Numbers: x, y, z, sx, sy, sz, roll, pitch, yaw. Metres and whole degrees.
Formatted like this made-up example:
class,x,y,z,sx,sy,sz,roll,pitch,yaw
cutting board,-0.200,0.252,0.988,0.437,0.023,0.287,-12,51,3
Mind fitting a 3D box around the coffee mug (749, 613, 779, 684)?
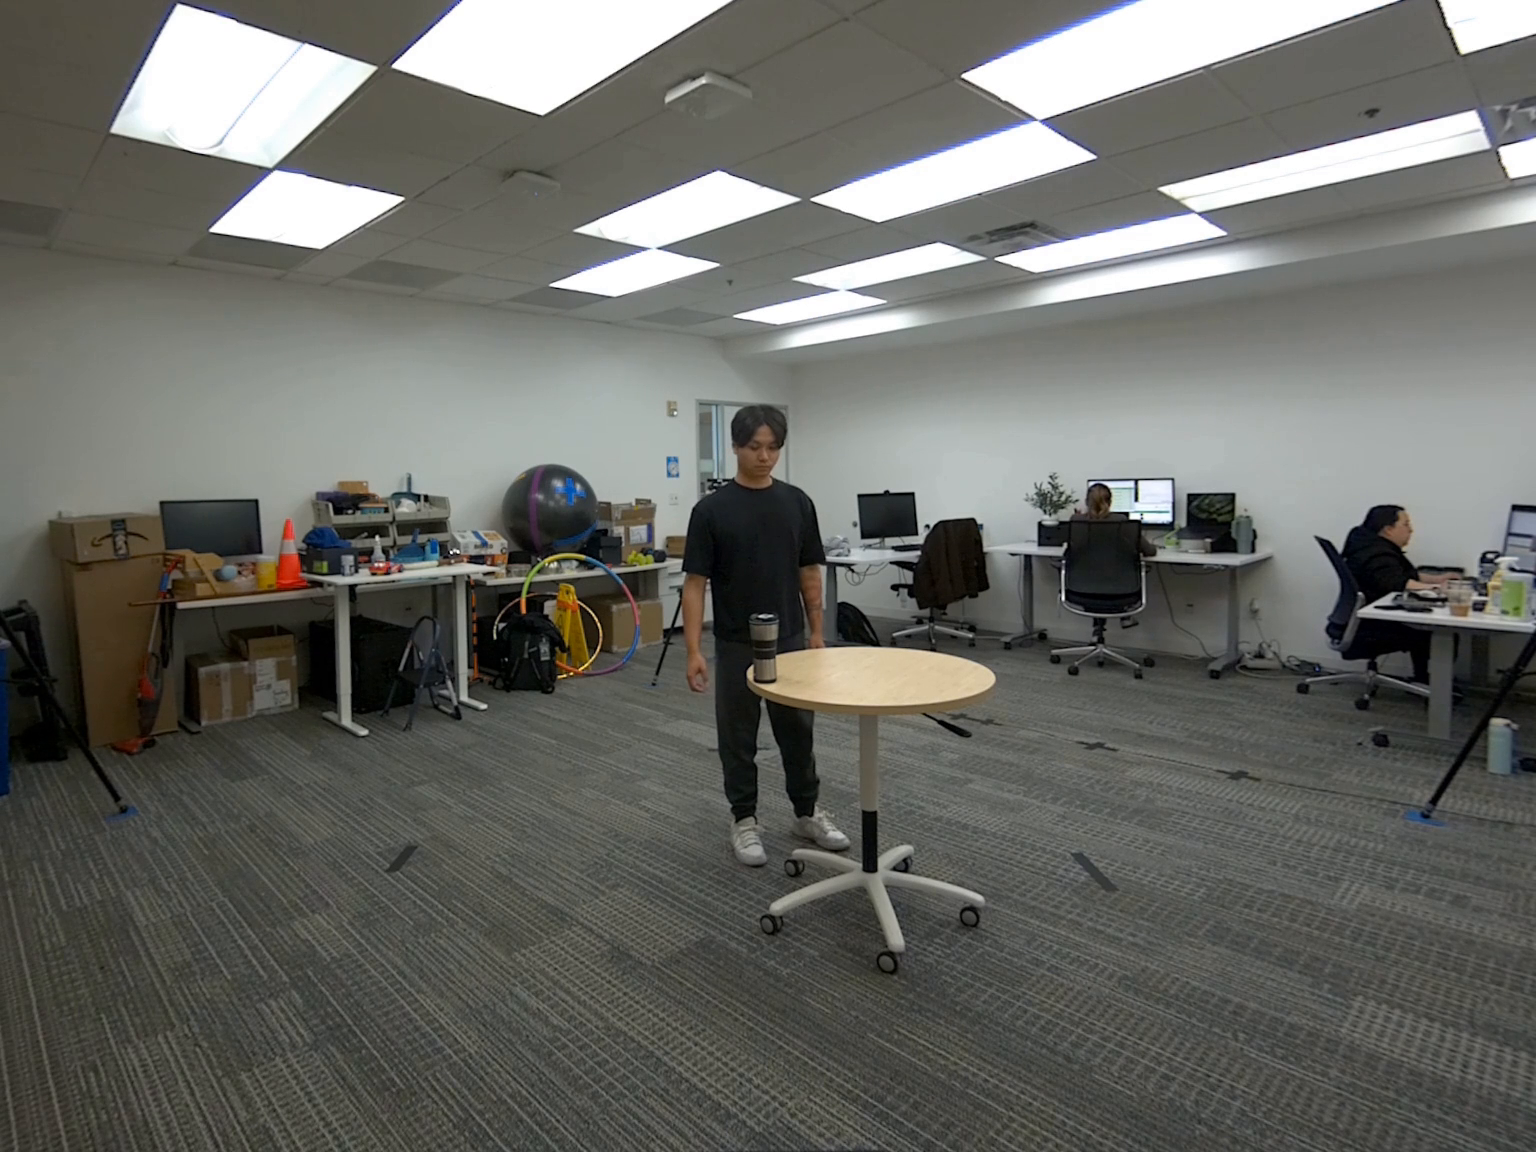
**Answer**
class,x,y,z,sx,sy,sz,roll,pitch,yaw
coffee mug,0.002,0.221,2.611,0.090,0.202,0.119,-1,6,42
